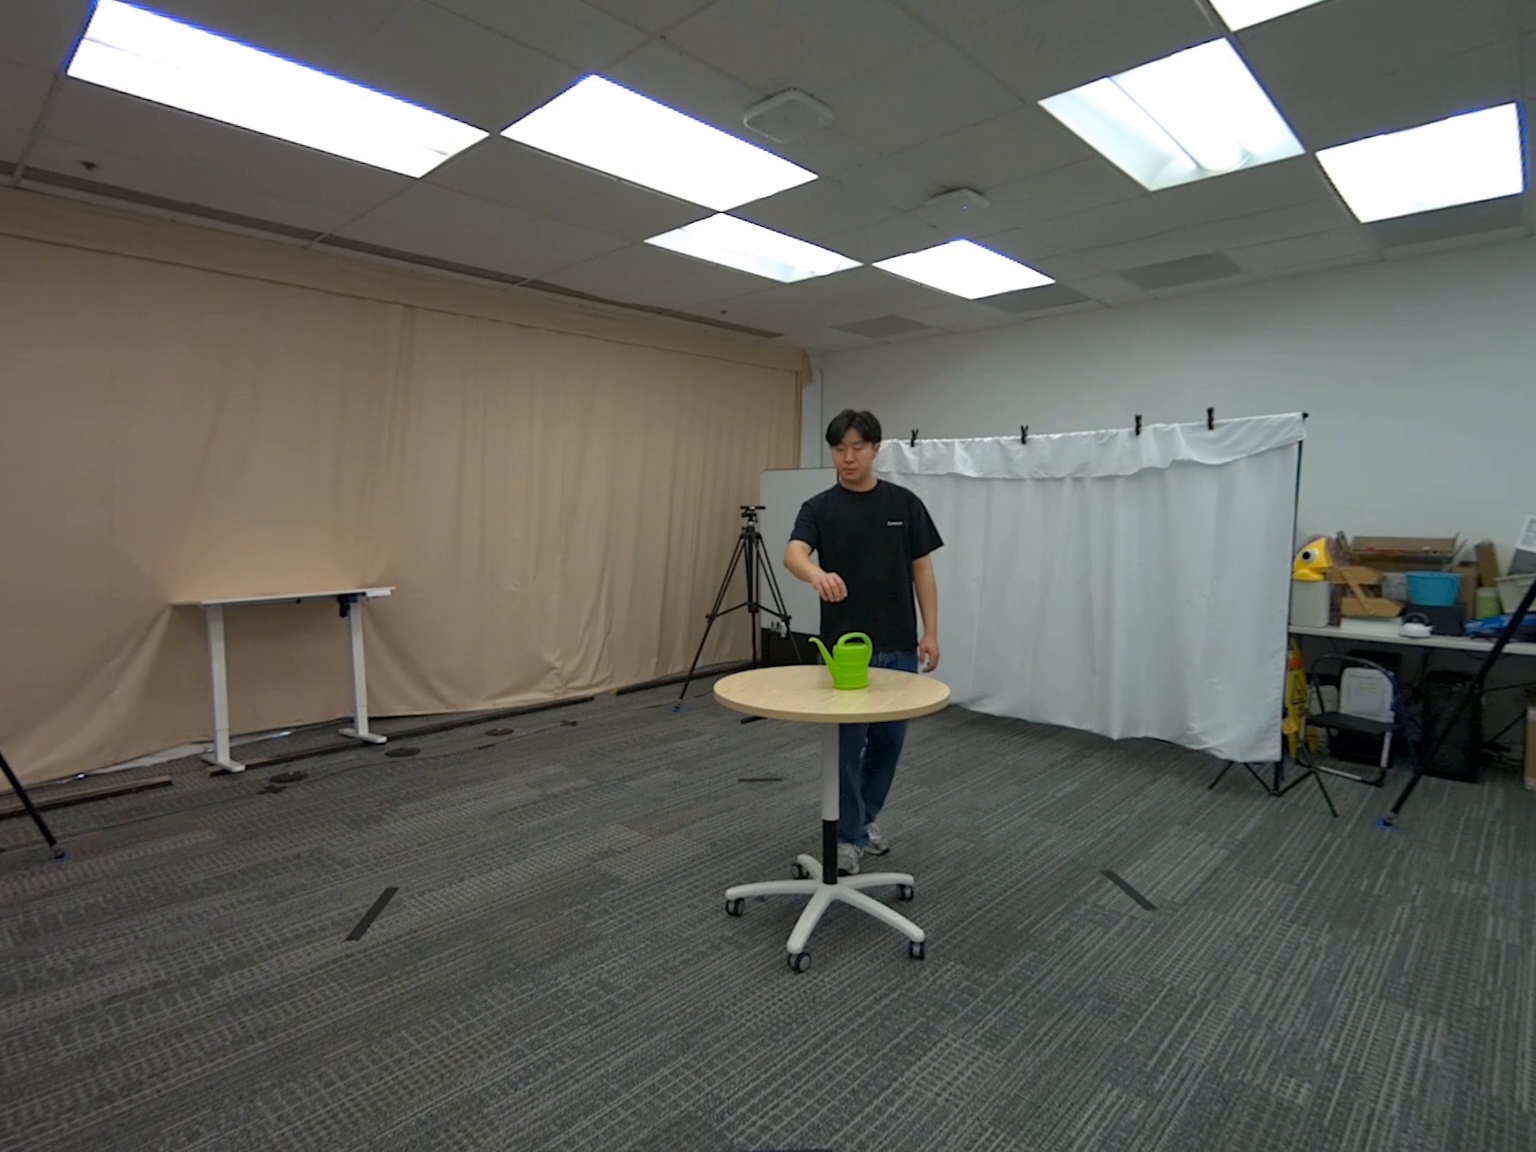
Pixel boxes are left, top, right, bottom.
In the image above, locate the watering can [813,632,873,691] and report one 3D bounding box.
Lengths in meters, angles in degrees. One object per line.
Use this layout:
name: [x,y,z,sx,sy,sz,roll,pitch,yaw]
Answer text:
watering can: [0.238,0.280,2.740,0.271,0.177,0.100,-1,0,-27]
